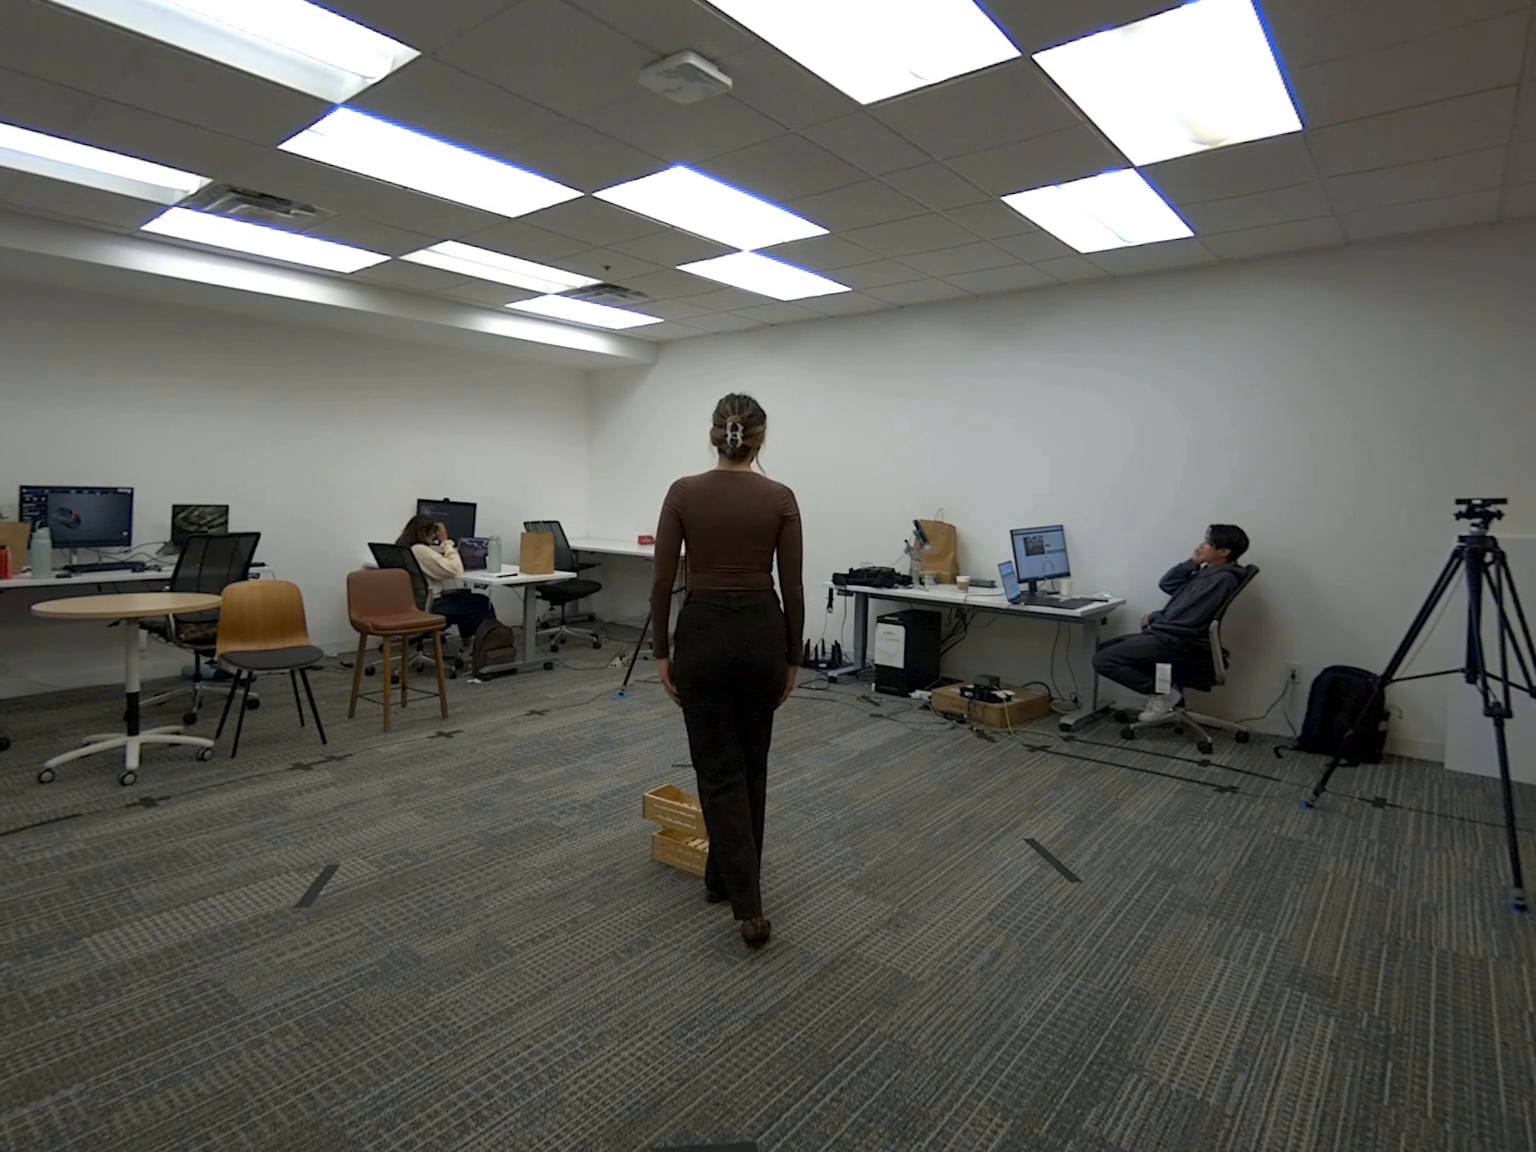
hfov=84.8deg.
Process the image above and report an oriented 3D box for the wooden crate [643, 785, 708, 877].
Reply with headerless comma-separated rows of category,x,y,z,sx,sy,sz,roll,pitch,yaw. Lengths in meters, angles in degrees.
wooden crate,-0.266,0.928,3.178,0.335,0.272,0.294,4,6,35
